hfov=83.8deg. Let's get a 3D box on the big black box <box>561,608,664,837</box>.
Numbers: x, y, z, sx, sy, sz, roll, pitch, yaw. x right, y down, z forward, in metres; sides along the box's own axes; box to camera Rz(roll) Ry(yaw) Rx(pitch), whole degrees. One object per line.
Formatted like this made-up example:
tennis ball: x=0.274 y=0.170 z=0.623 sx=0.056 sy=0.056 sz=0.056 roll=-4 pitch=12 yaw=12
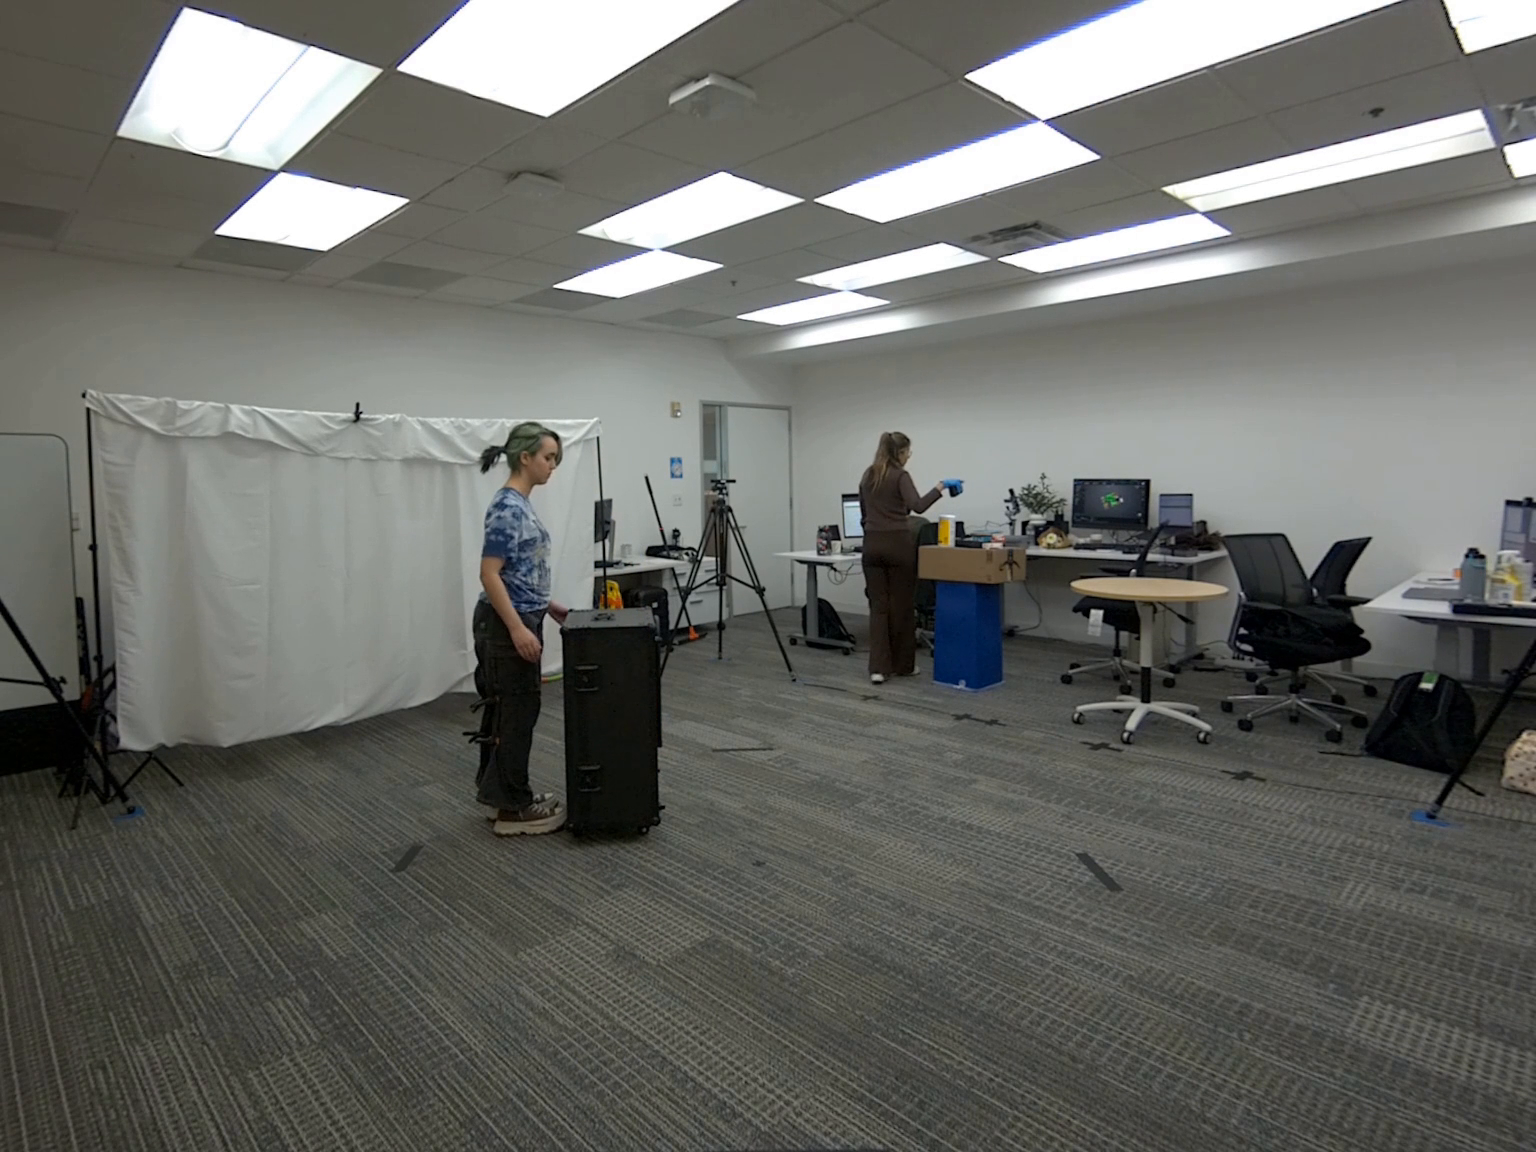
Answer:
big black box: x=-0.631 y=0.590 z=3.495 sx=0.394 sy=0.859 sz=0.526 roll=-1 pitch=3 yaw=-8
